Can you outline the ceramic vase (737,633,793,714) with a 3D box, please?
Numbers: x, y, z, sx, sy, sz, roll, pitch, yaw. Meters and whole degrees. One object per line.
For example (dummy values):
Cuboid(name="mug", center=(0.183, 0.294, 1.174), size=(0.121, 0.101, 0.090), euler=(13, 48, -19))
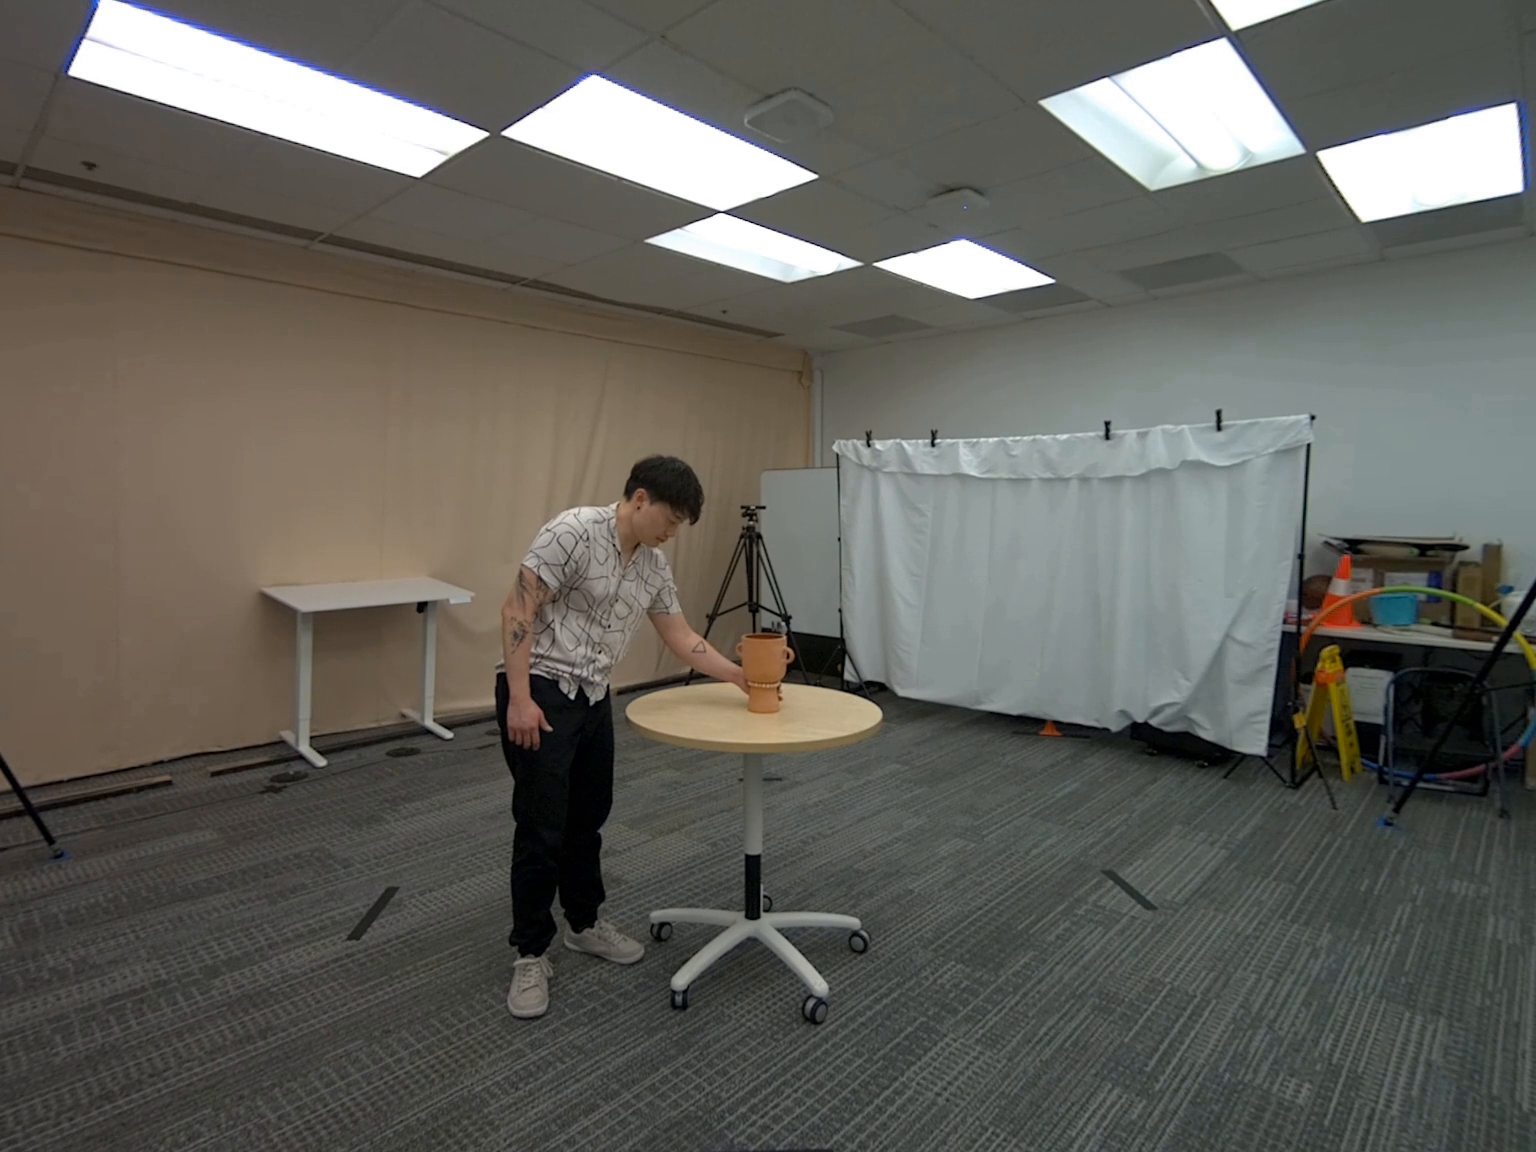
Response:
Cuboid(name="ceramic vase", center=(-0.003, 0.291, 2.501), size=(0.132, 0.219, 0.162), euler=(-1, 3, -22))
